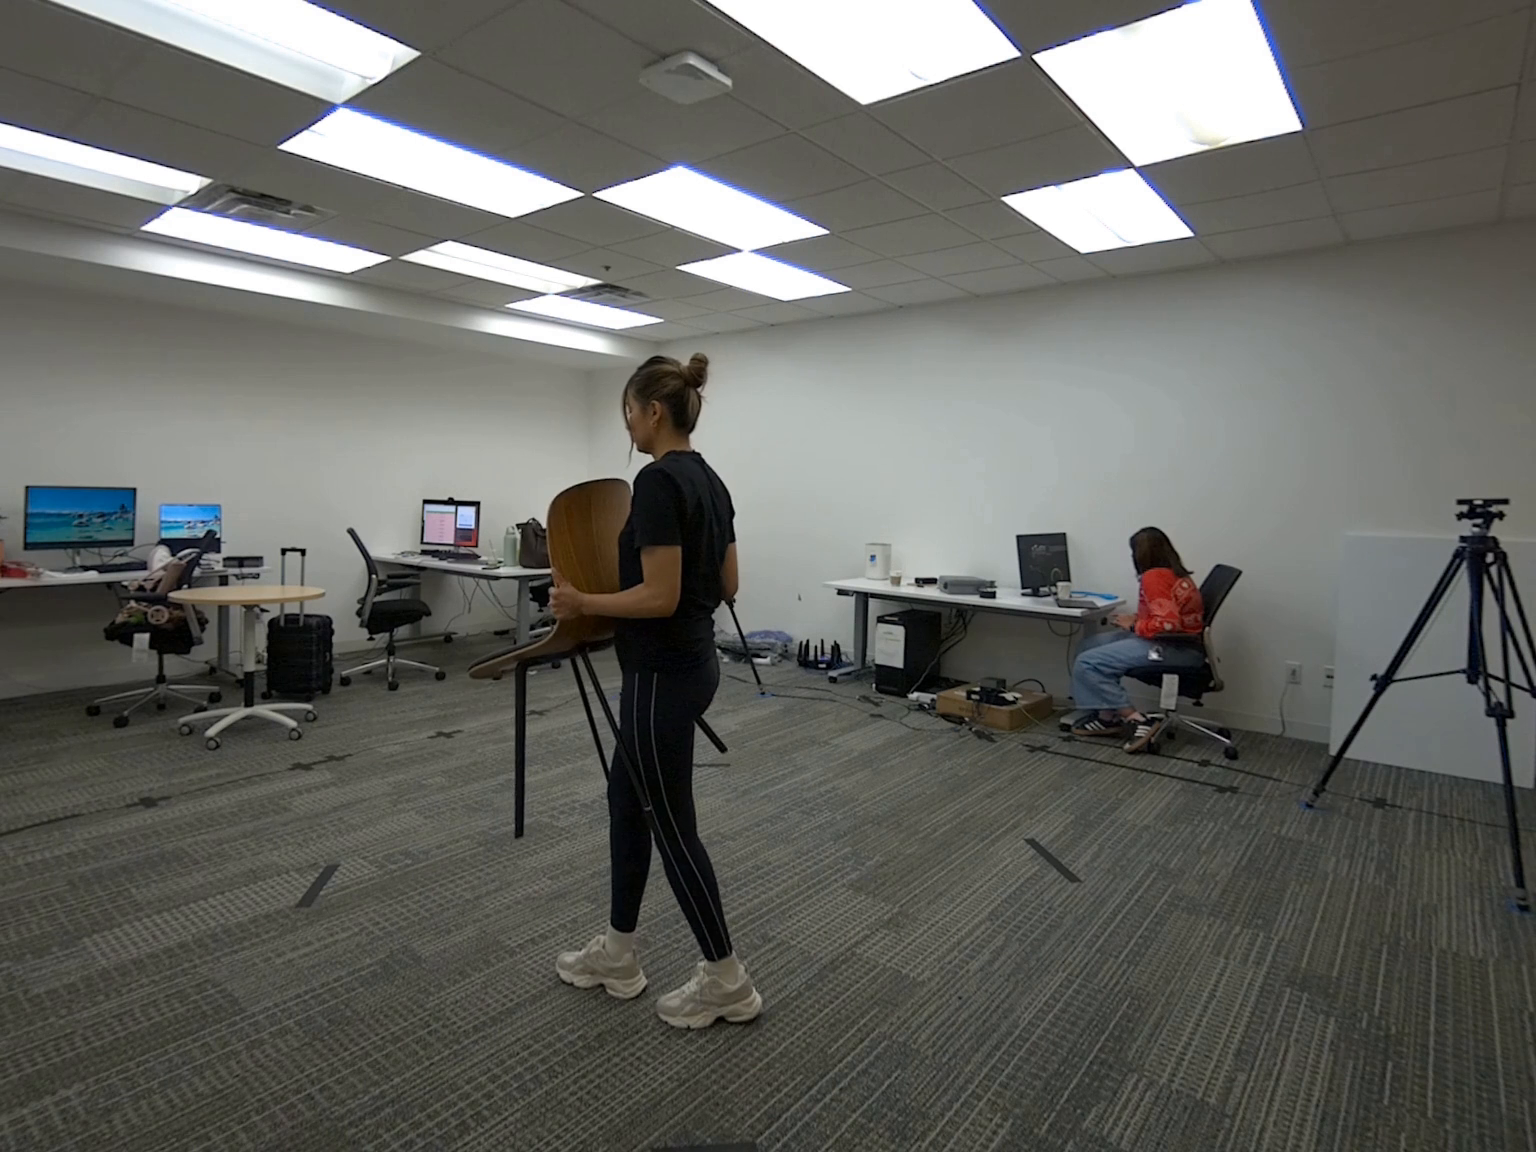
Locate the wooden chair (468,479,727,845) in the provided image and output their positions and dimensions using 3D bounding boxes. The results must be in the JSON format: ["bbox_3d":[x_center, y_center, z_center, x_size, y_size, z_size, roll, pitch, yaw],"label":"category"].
[{"bbox_3d":[-0.563,0.214,2.435,0.532,0.880,0.468,-17,-2,26],"label":"wooden chair"}]
